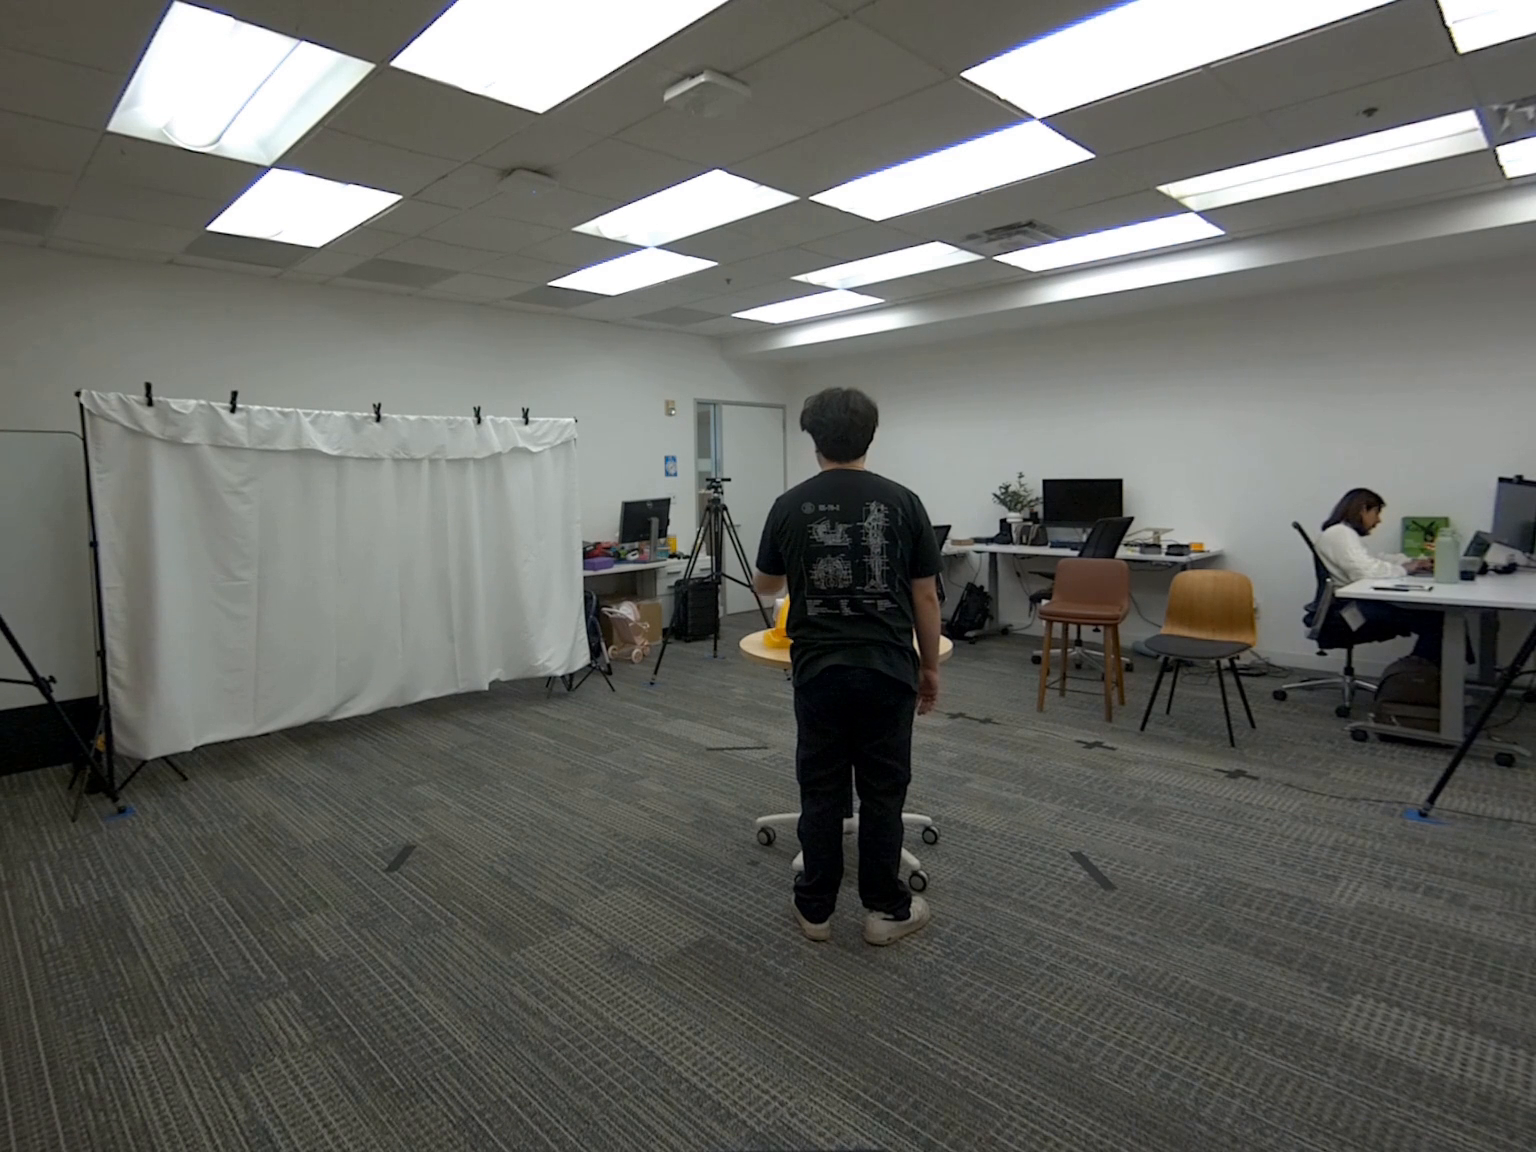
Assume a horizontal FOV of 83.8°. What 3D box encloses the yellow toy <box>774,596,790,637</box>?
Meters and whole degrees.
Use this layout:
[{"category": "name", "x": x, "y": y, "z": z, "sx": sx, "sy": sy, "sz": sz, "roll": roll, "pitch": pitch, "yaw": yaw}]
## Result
[{"category": "yellow toy", "x": 0.092, "y": 0.133, "z": 3.111, "sx": 0.200, "sy": 0.230, "sz": 0.198, "roll": -4, "pitch": 5, "yaw": -27}]
